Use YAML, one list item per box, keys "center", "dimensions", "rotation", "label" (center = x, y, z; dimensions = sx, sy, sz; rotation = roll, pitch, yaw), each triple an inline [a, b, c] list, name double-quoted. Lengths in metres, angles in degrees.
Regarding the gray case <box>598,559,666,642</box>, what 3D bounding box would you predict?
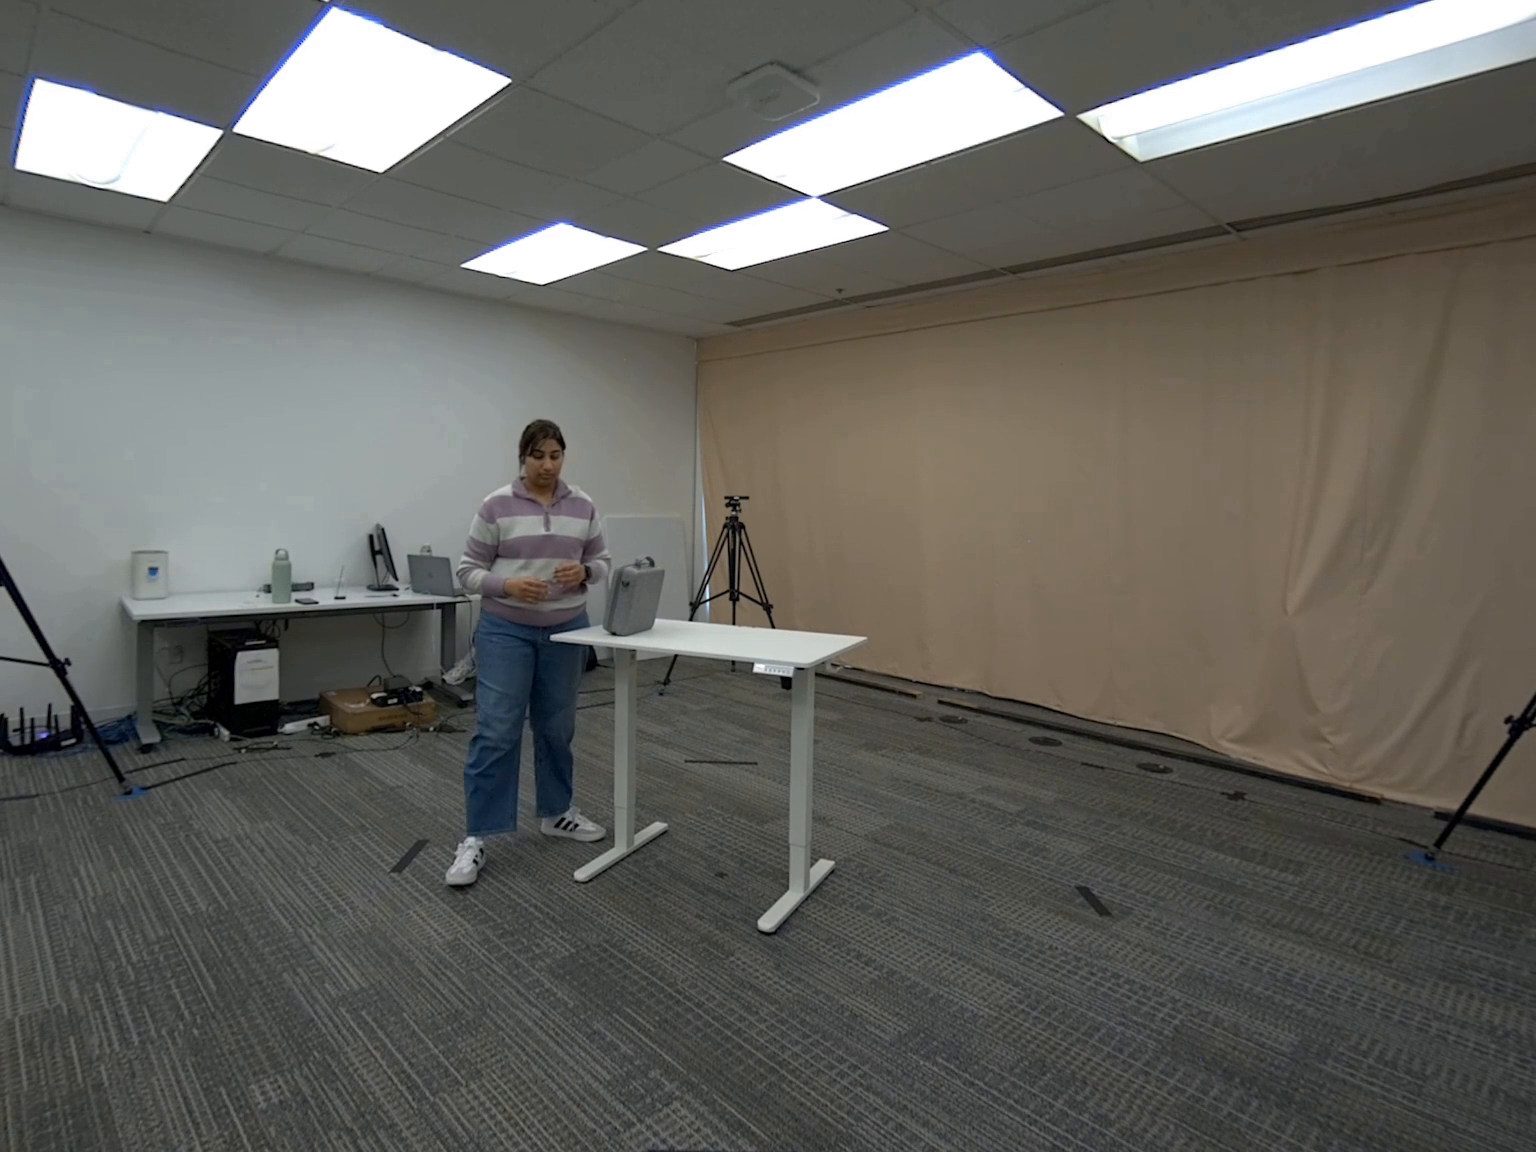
- center: [-0.504, 0.084, 3.140]
  dimensions: [0.106, 0.259, 0.254]
  rotation: [11, 8, 17]
  label: "gray case"
